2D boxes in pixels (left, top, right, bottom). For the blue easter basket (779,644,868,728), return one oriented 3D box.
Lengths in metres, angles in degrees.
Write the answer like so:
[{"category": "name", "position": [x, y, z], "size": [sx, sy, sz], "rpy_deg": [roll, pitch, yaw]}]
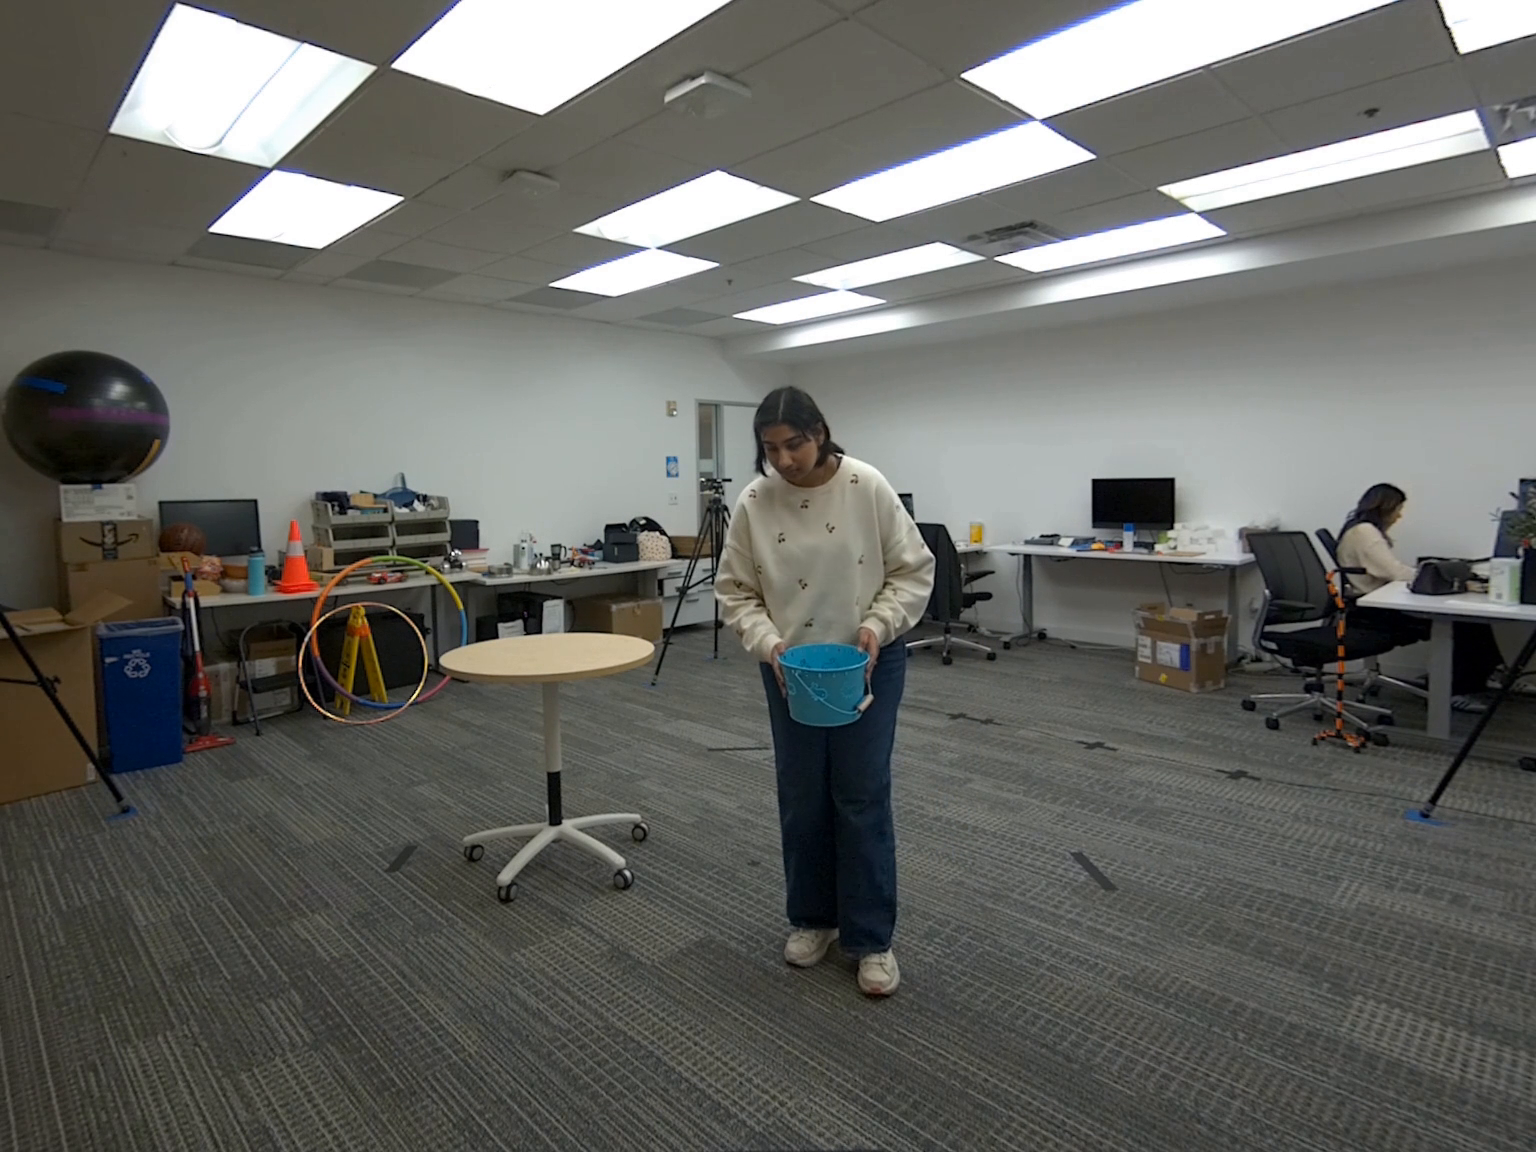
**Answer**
[{"category": "blue easter basket", "position": [0.160, 0.290, 2.161], "size": [0.243, 0.154, 0.246], "rpy_deg": [-4, 11, -1]}]
